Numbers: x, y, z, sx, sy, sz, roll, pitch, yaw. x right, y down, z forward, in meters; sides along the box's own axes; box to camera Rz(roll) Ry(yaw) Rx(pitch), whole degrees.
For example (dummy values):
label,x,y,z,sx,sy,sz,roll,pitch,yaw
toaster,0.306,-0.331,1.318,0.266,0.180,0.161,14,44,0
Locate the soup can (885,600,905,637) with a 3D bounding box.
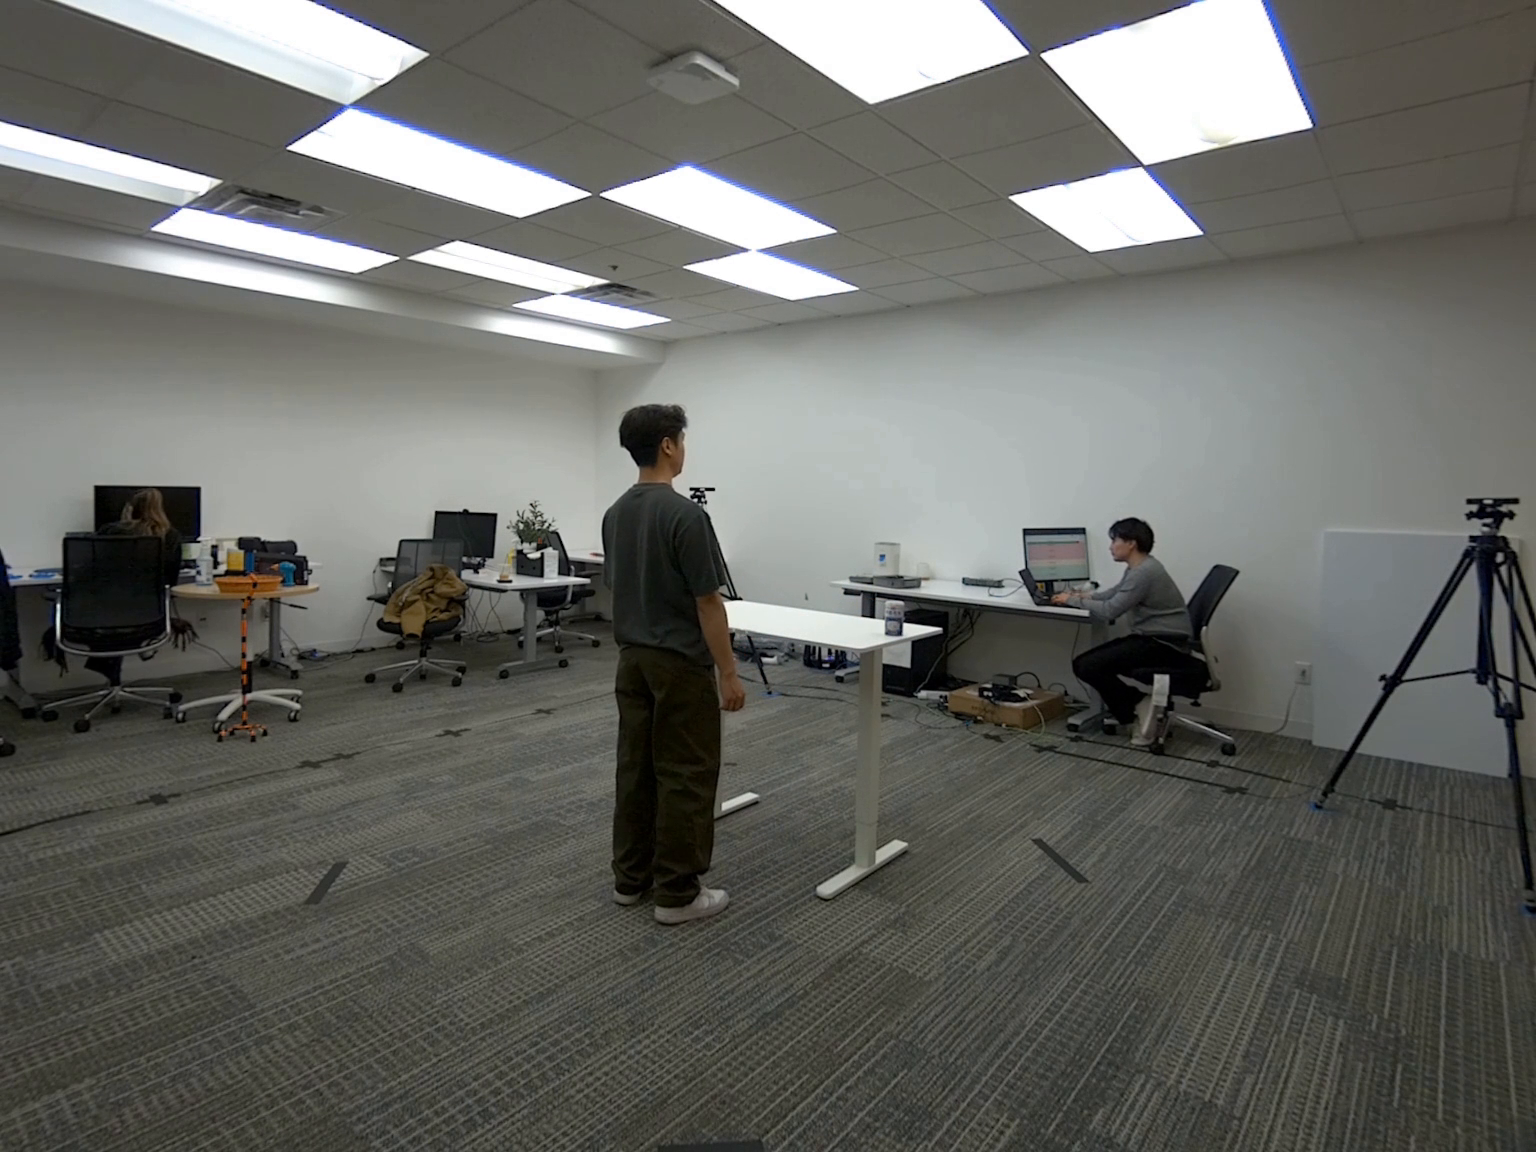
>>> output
label,x,y,z,sx,sy,sz,roll,pitch,yaw
soup can,0.442,0.154,3.031,0.067,0.122,0.067,2,-2,-2
